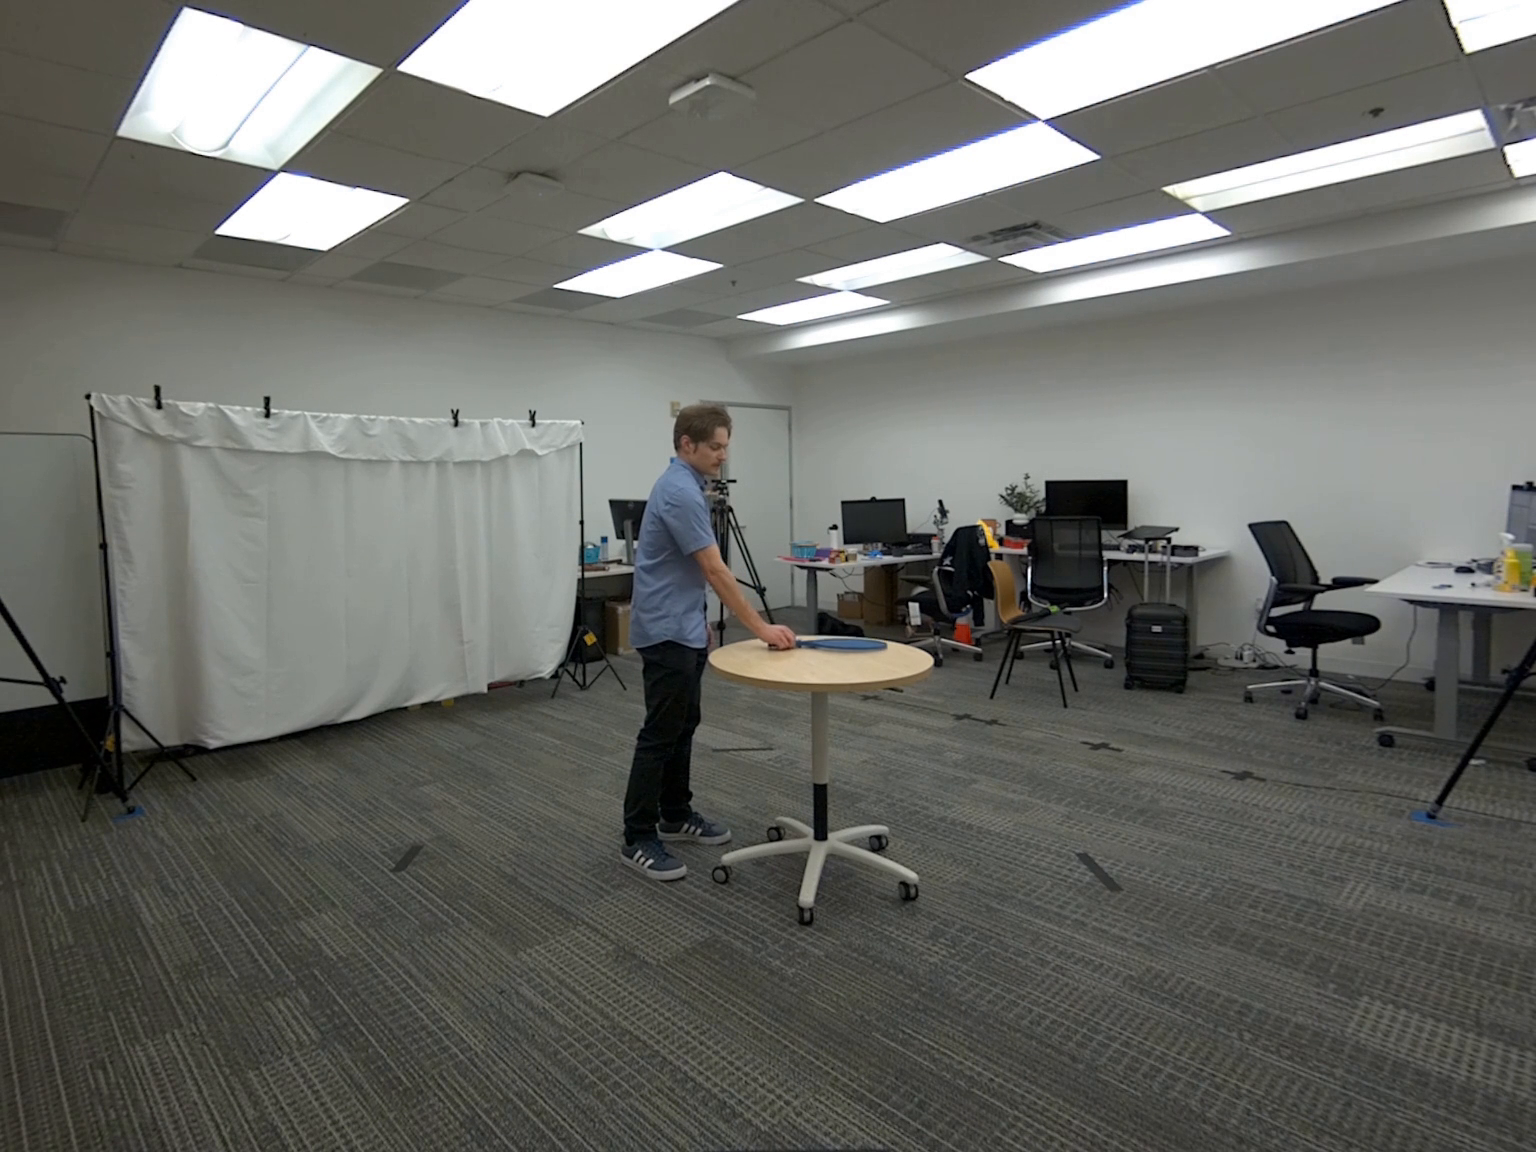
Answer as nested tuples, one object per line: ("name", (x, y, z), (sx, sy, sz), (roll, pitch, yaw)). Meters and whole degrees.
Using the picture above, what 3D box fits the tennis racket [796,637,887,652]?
("tennis racket", (0.216, 0.248, 3.109), (0.433, 0.031, 0.215), (0, 6, -1))
